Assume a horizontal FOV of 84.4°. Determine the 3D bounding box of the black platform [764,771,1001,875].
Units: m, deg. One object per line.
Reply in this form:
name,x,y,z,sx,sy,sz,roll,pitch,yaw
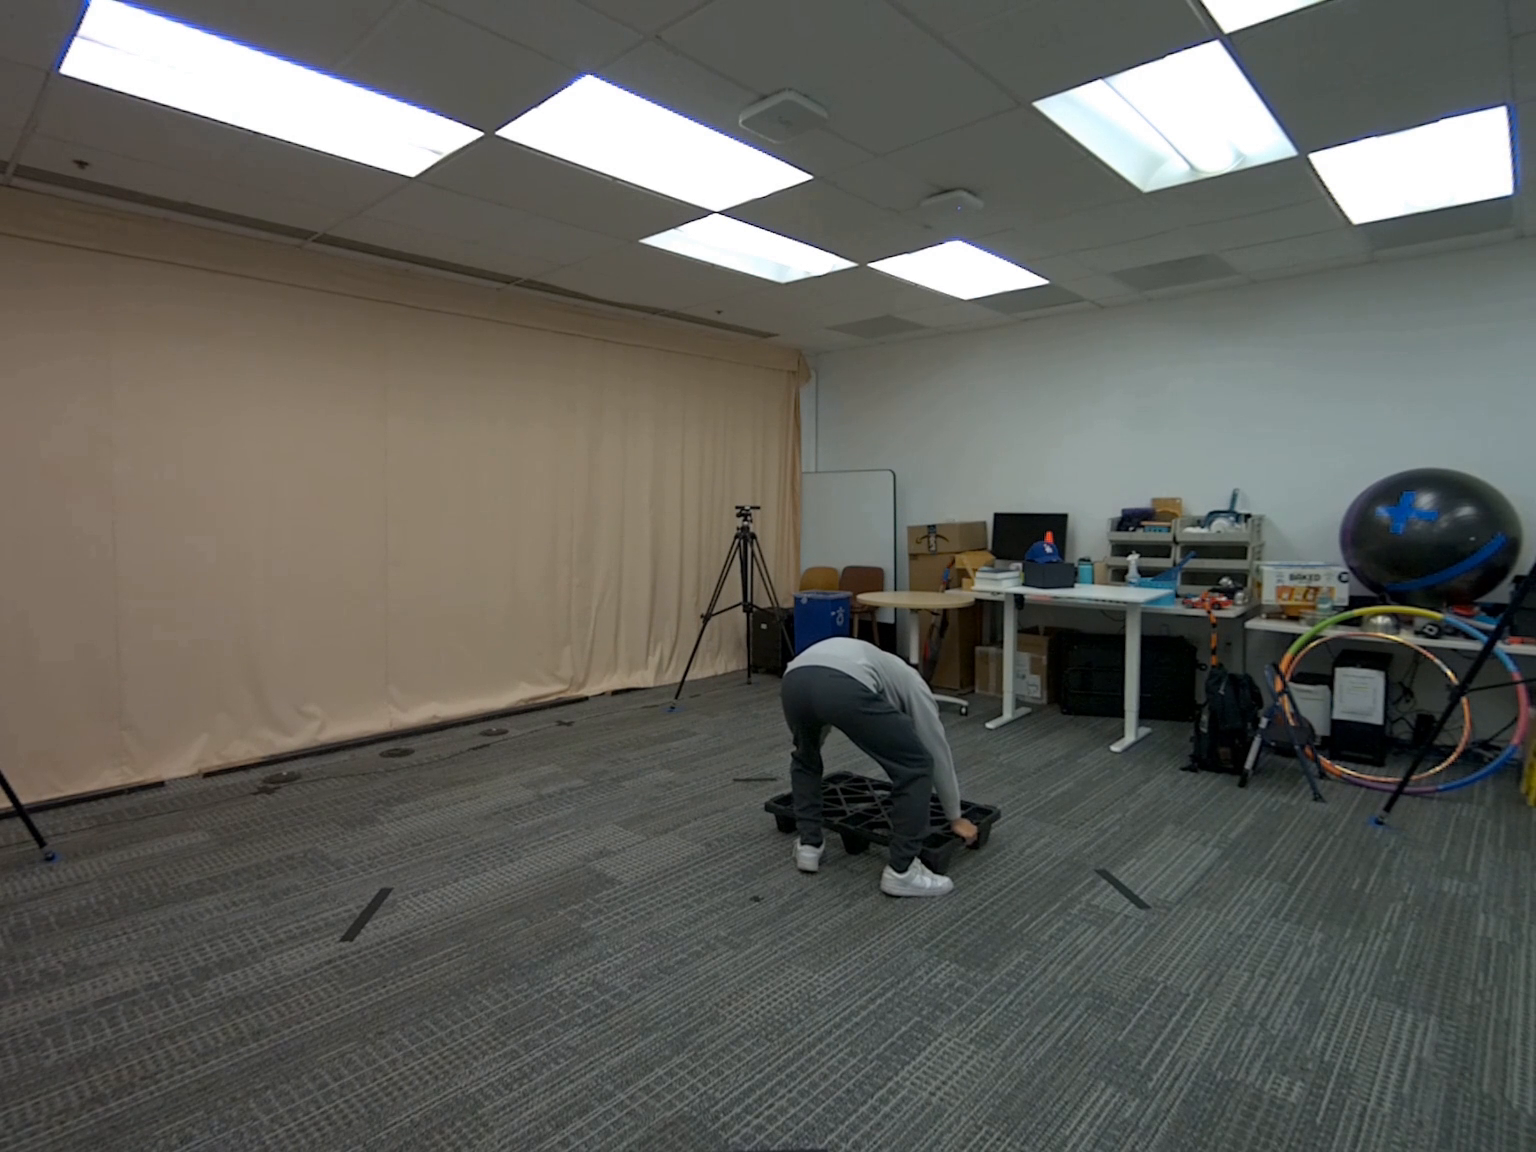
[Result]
black platform,0.475,1.031,3.535,0.832,0.143,0.587,3,6,39
